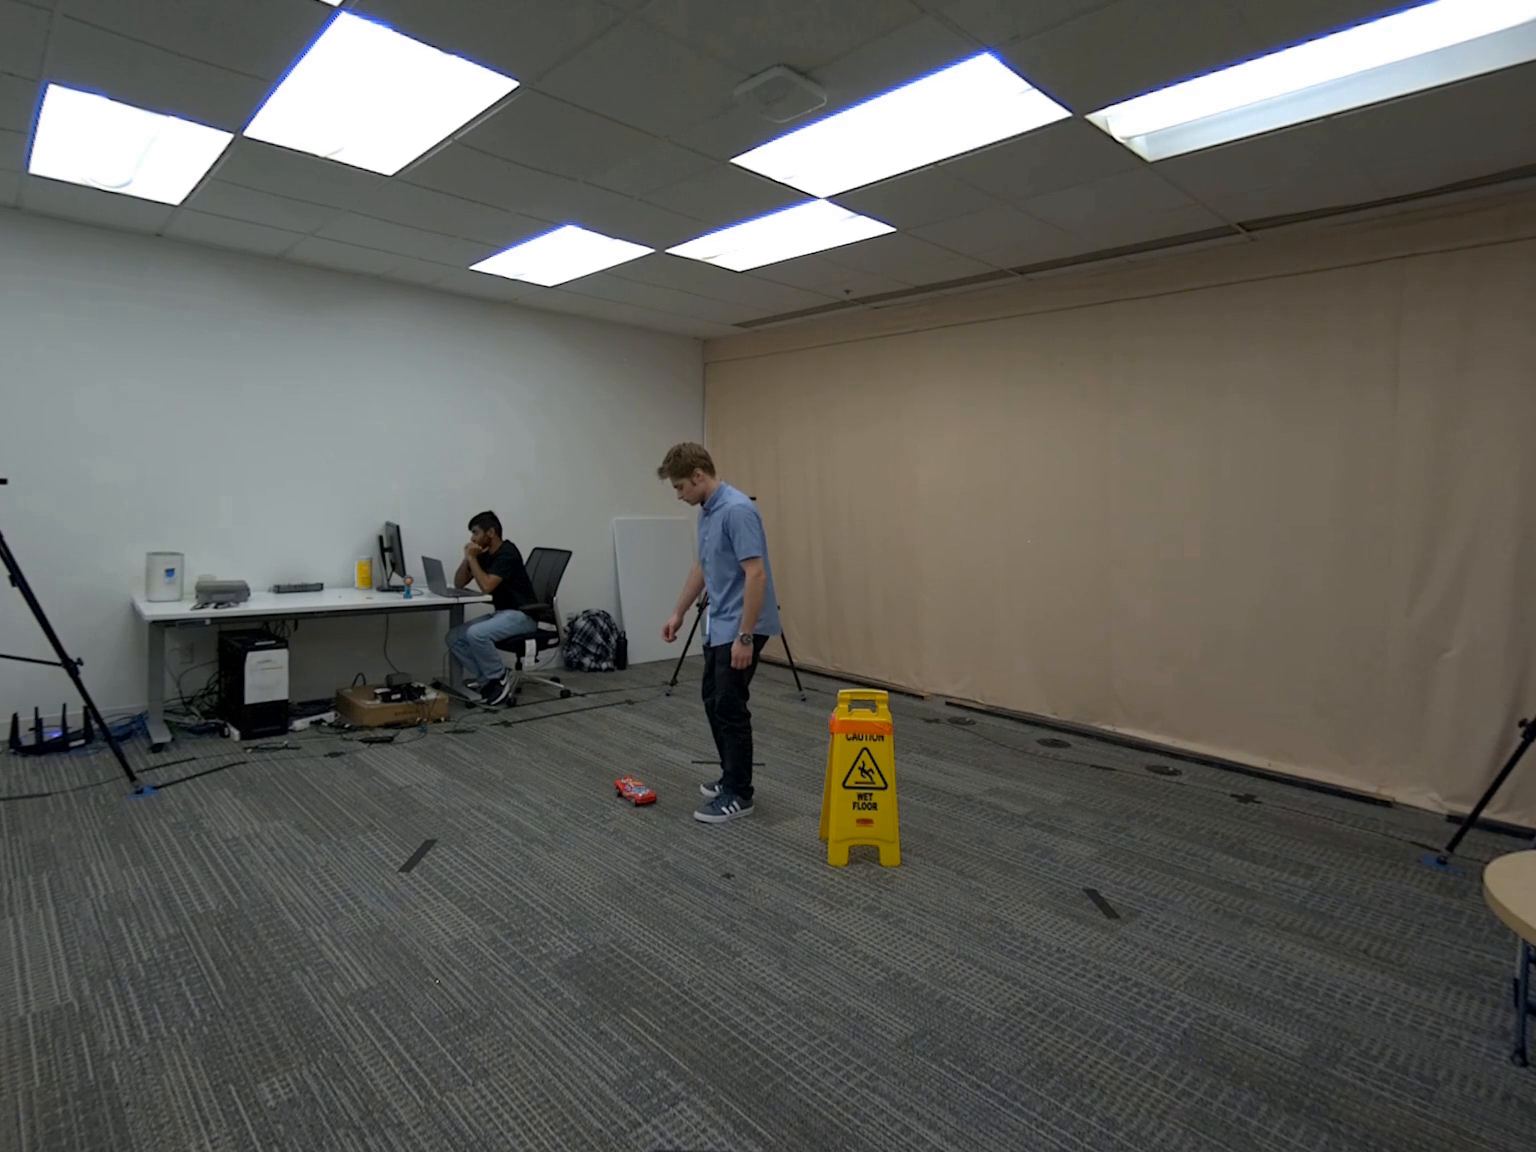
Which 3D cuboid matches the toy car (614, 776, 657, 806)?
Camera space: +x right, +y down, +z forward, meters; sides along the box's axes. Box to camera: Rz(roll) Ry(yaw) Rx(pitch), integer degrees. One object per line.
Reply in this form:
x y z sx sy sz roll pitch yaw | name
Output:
-0.624 0.992 3.893 0.127 0.082 0.262 -1 16 -36 | toy car
